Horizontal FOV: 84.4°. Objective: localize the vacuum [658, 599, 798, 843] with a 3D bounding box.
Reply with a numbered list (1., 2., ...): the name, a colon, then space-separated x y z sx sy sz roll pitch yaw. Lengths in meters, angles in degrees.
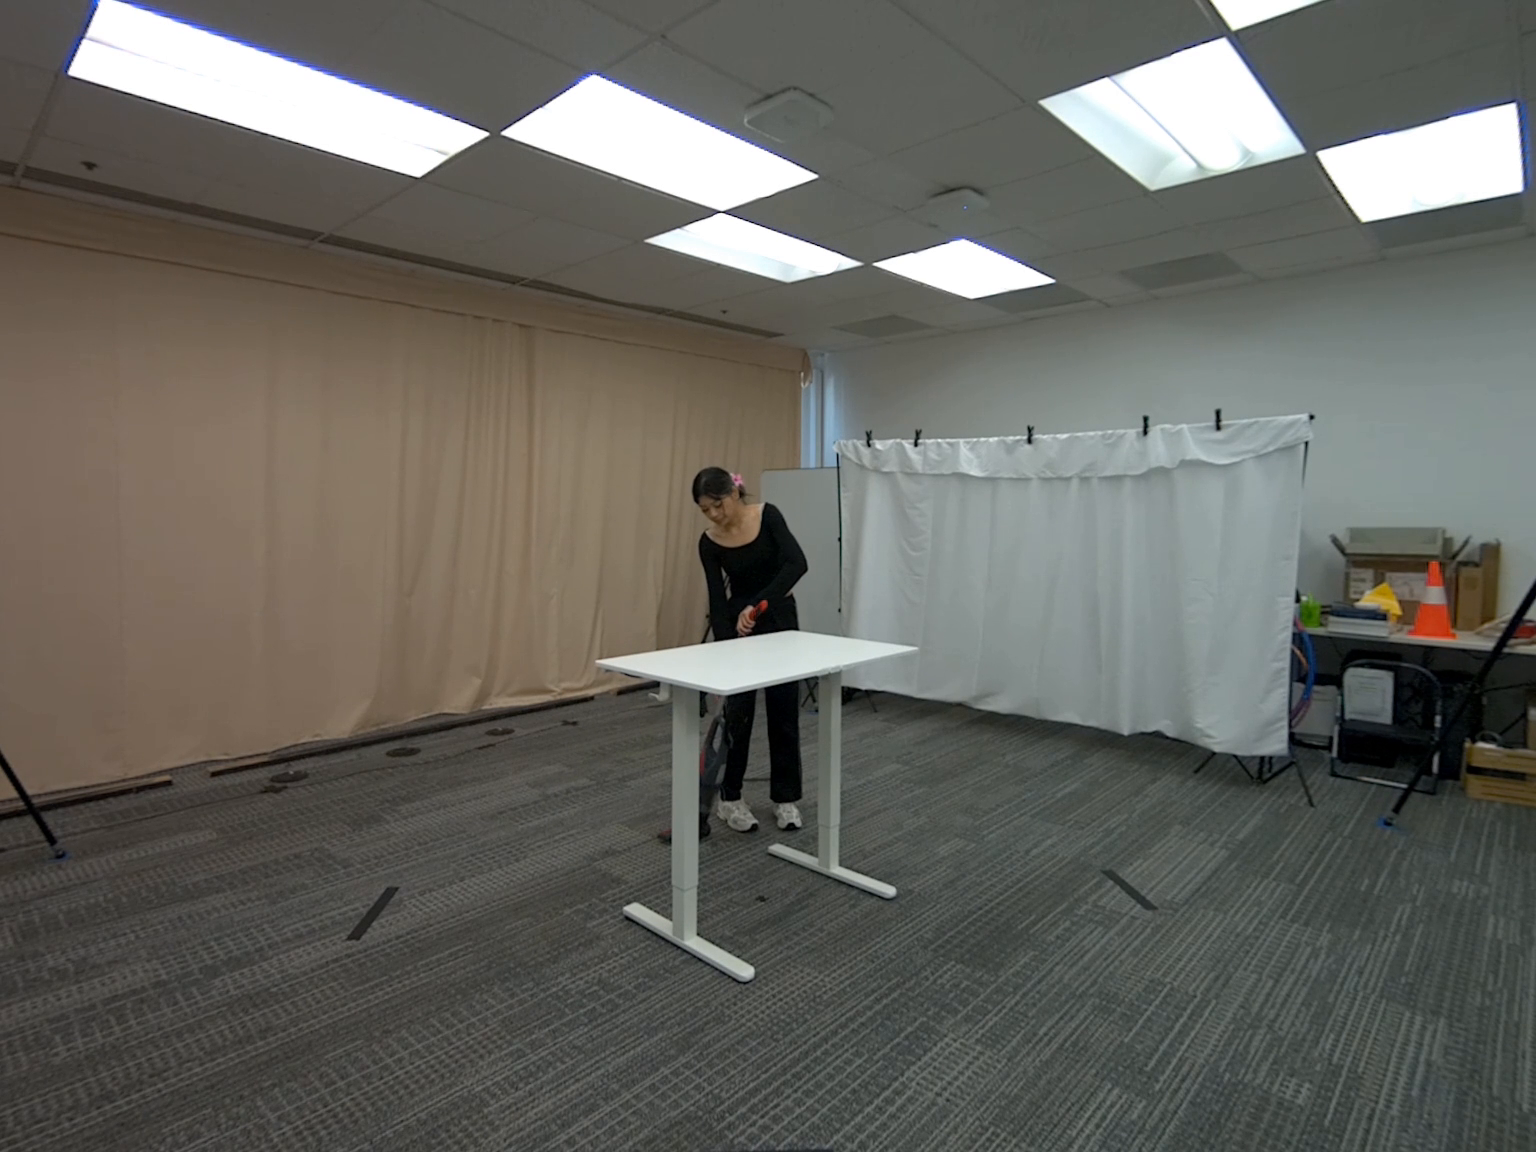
1. vacuum: -0.184 0.605 3.464 0.149 1.046 0.244 25 13 41
